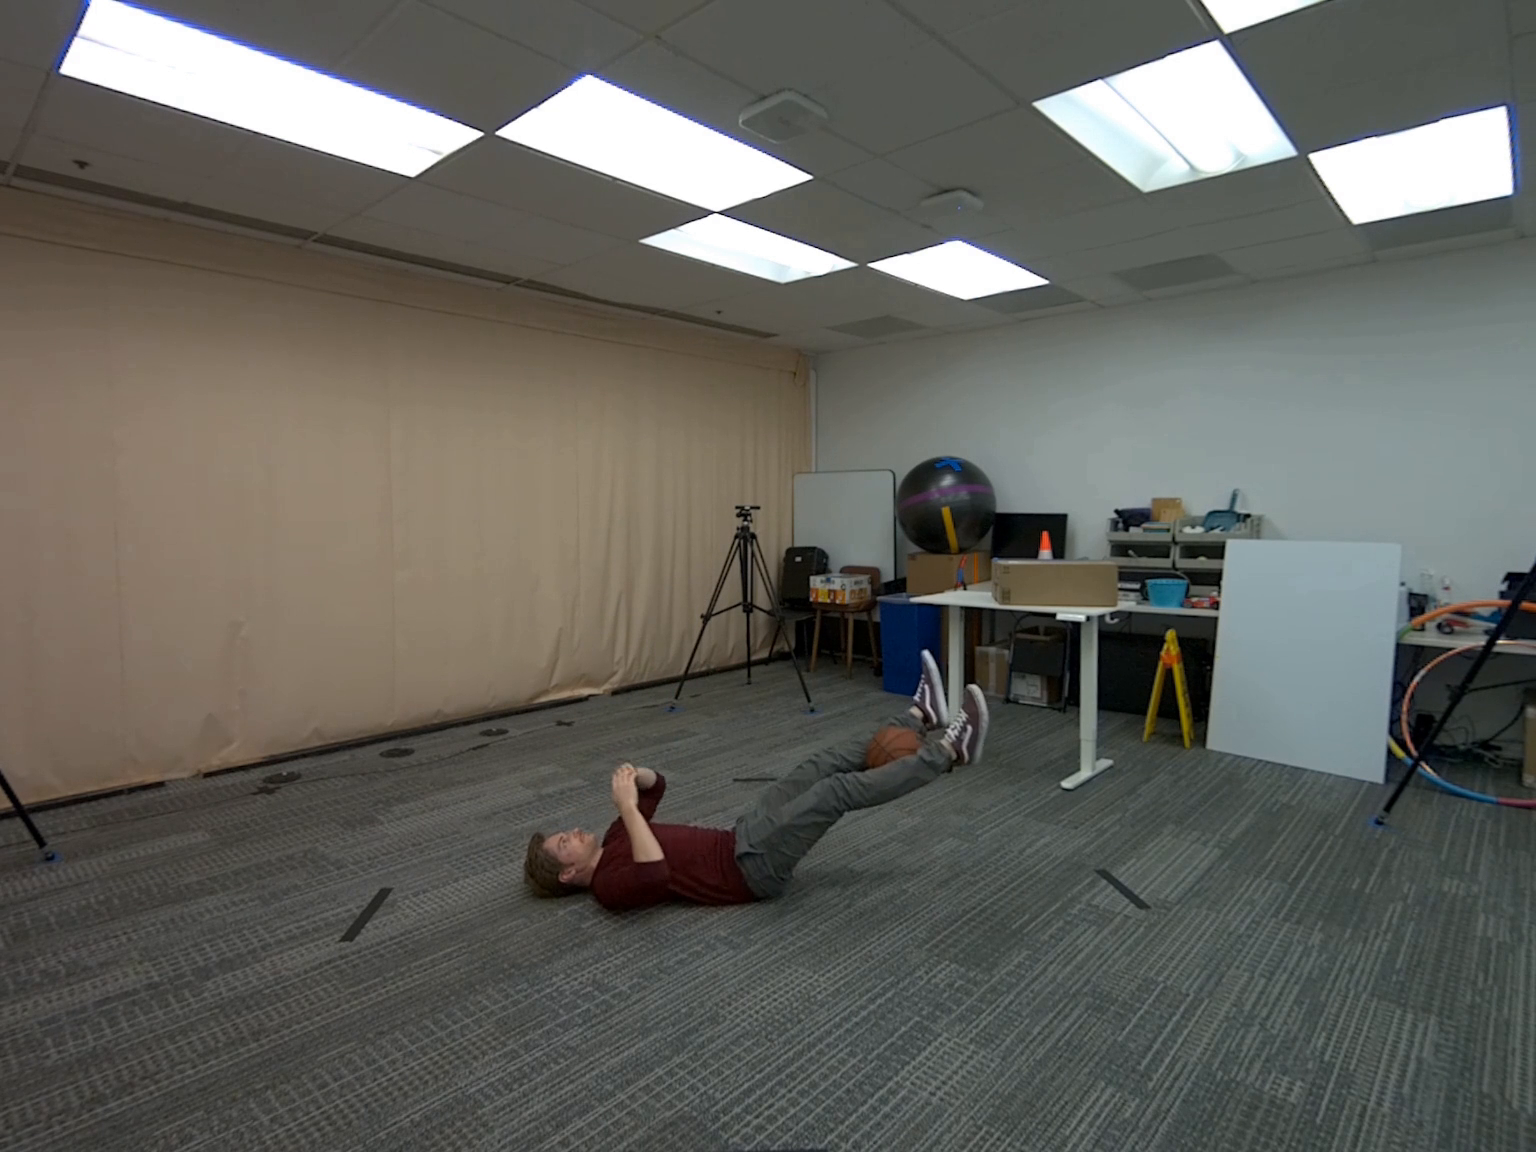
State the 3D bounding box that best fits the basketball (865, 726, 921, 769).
[{"bbox_3d":[0.465,0.652,3.035,0.236,0.235,0.237,0,4,-2],"label":"basketball"}]
